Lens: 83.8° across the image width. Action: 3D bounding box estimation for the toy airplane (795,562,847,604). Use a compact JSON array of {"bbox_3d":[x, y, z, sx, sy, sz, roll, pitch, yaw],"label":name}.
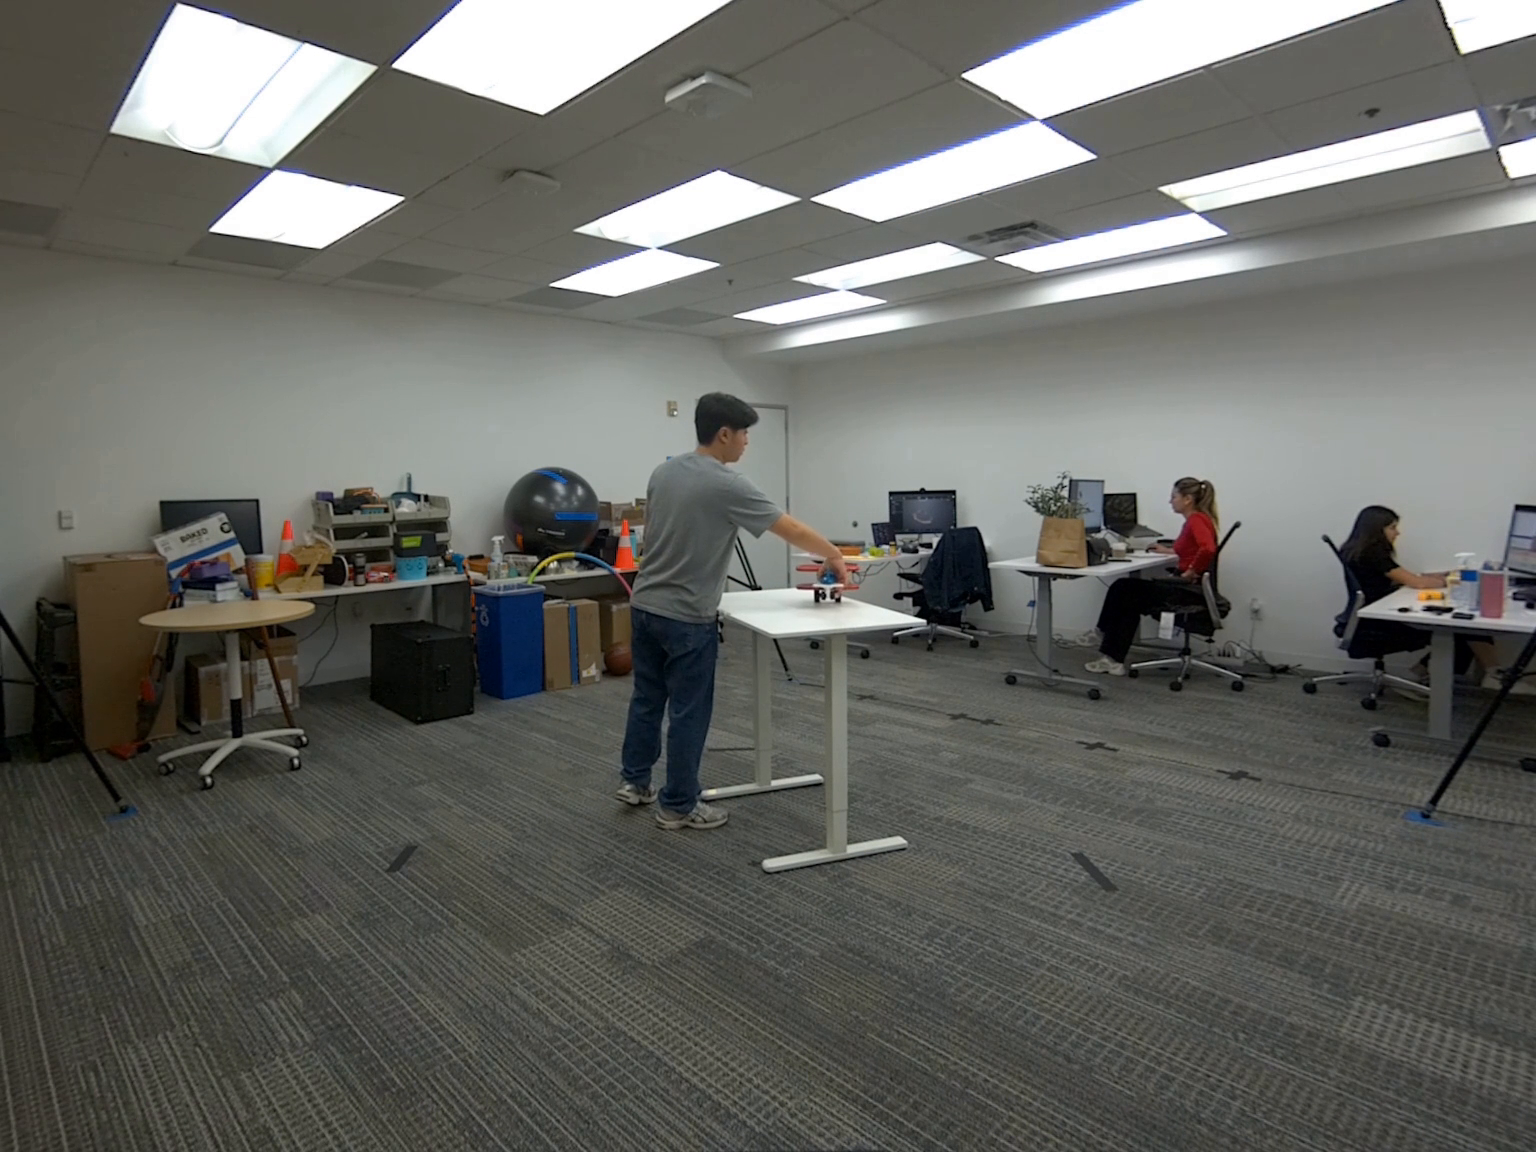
[{"bbox_3d":[0.258,0.024,3.455,0.246,0.157,0.263,1,-6,-22],"label":"toy airplane"}]
